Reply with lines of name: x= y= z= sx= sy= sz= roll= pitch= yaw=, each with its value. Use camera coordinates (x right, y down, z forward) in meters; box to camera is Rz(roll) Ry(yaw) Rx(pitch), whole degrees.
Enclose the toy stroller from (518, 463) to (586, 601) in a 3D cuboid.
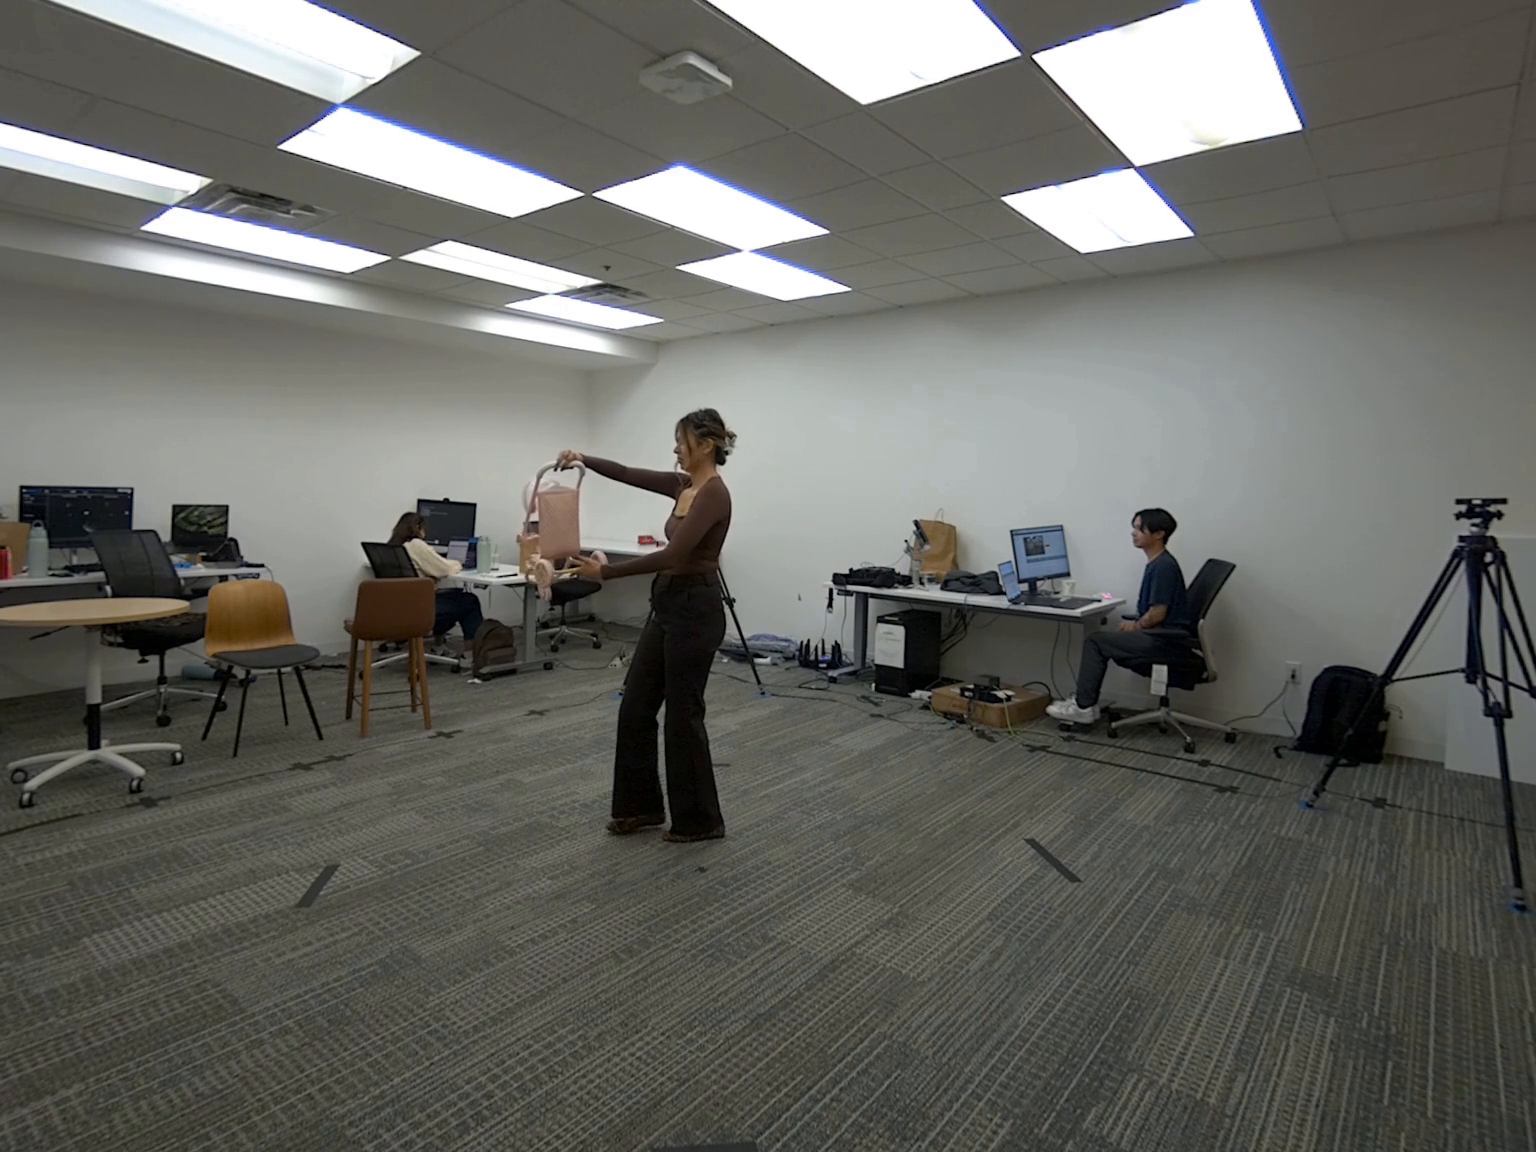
toy stroller: x=-0.856 y=-0.170 z=3.349 sx=0.274 sy=0.534 sz=0.351 roll=-10 pitch=2 yaw=-39
